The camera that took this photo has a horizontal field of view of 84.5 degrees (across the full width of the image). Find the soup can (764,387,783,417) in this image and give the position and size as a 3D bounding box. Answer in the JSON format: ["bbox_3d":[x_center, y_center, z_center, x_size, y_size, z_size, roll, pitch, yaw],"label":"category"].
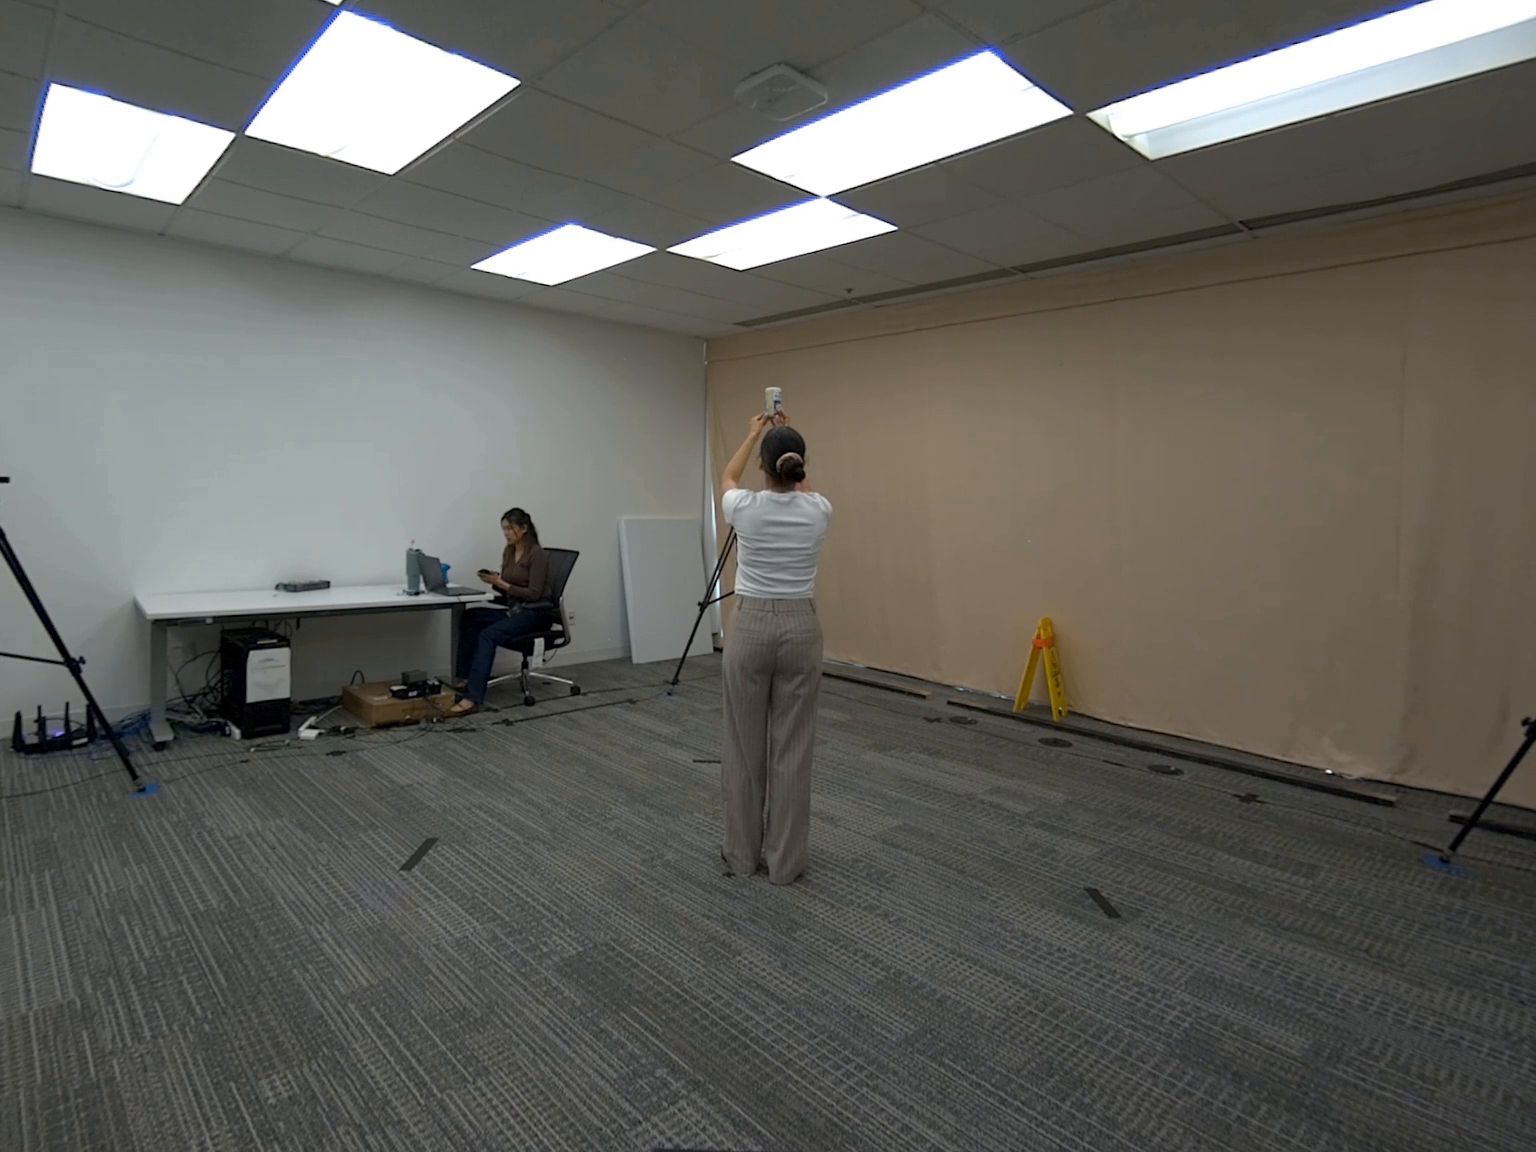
[{"bbox_3d":[0.017,-0.714,3.464,0.067,0.121,0.067,2,1,-1],"label":"soup can"}]
